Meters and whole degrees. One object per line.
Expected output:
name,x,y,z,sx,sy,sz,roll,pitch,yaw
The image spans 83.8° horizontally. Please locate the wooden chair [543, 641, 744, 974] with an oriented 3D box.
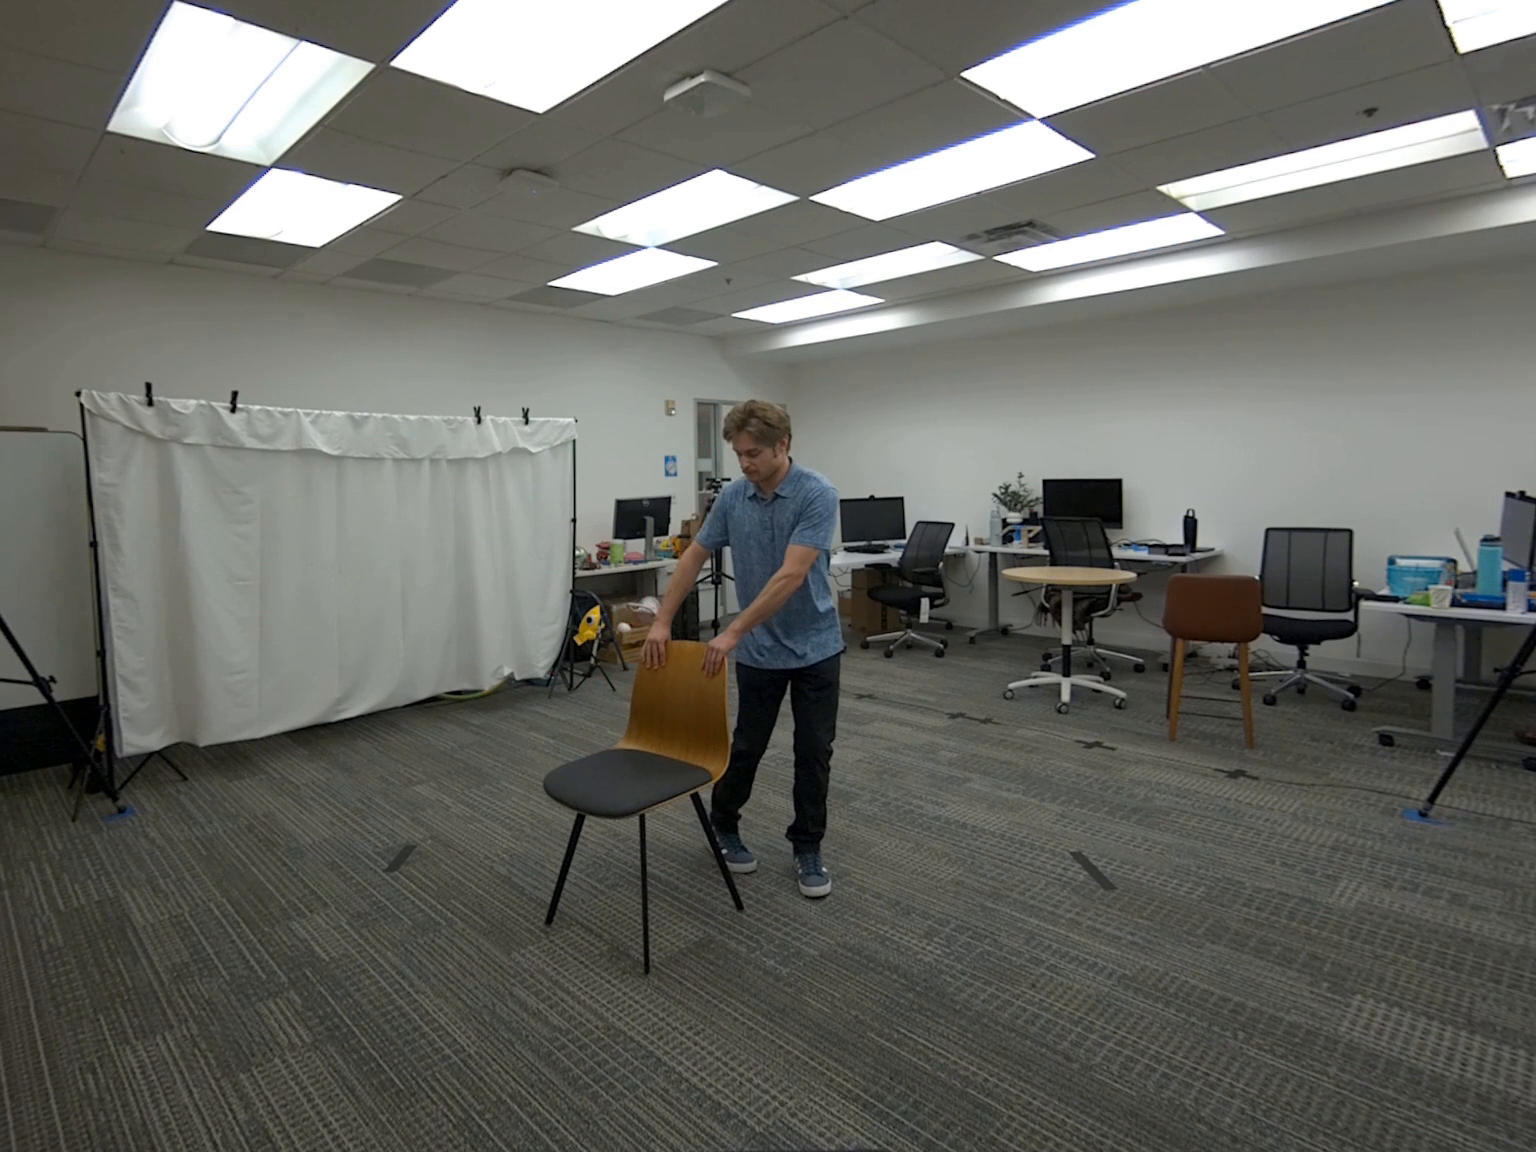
wooden chair,-0.398,0.668,2.688,0.492,0.877,0.508,2,1,38
